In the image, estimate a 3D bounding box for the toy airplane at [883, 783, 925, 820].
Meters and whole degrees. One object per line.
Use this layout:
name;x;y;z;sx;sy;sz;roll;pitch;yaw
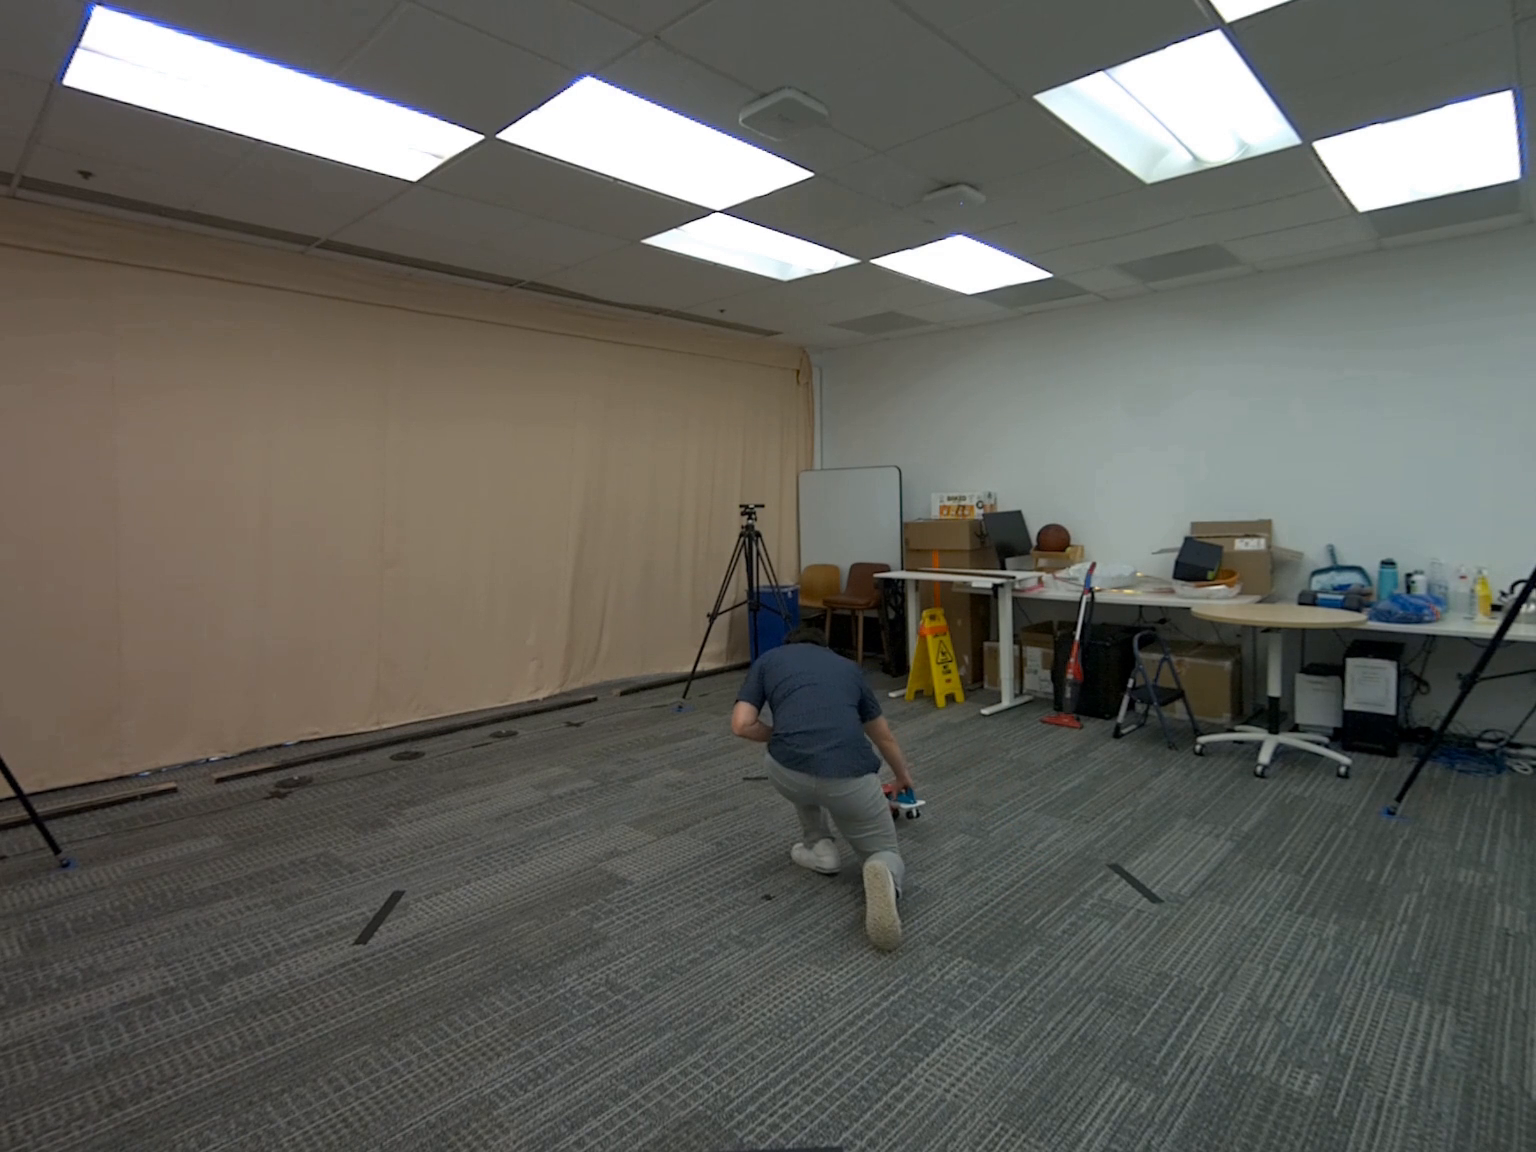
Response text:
toy airplane;0.565;0.977;3.646;0.264;0.158;0.243;-19;-15;27
